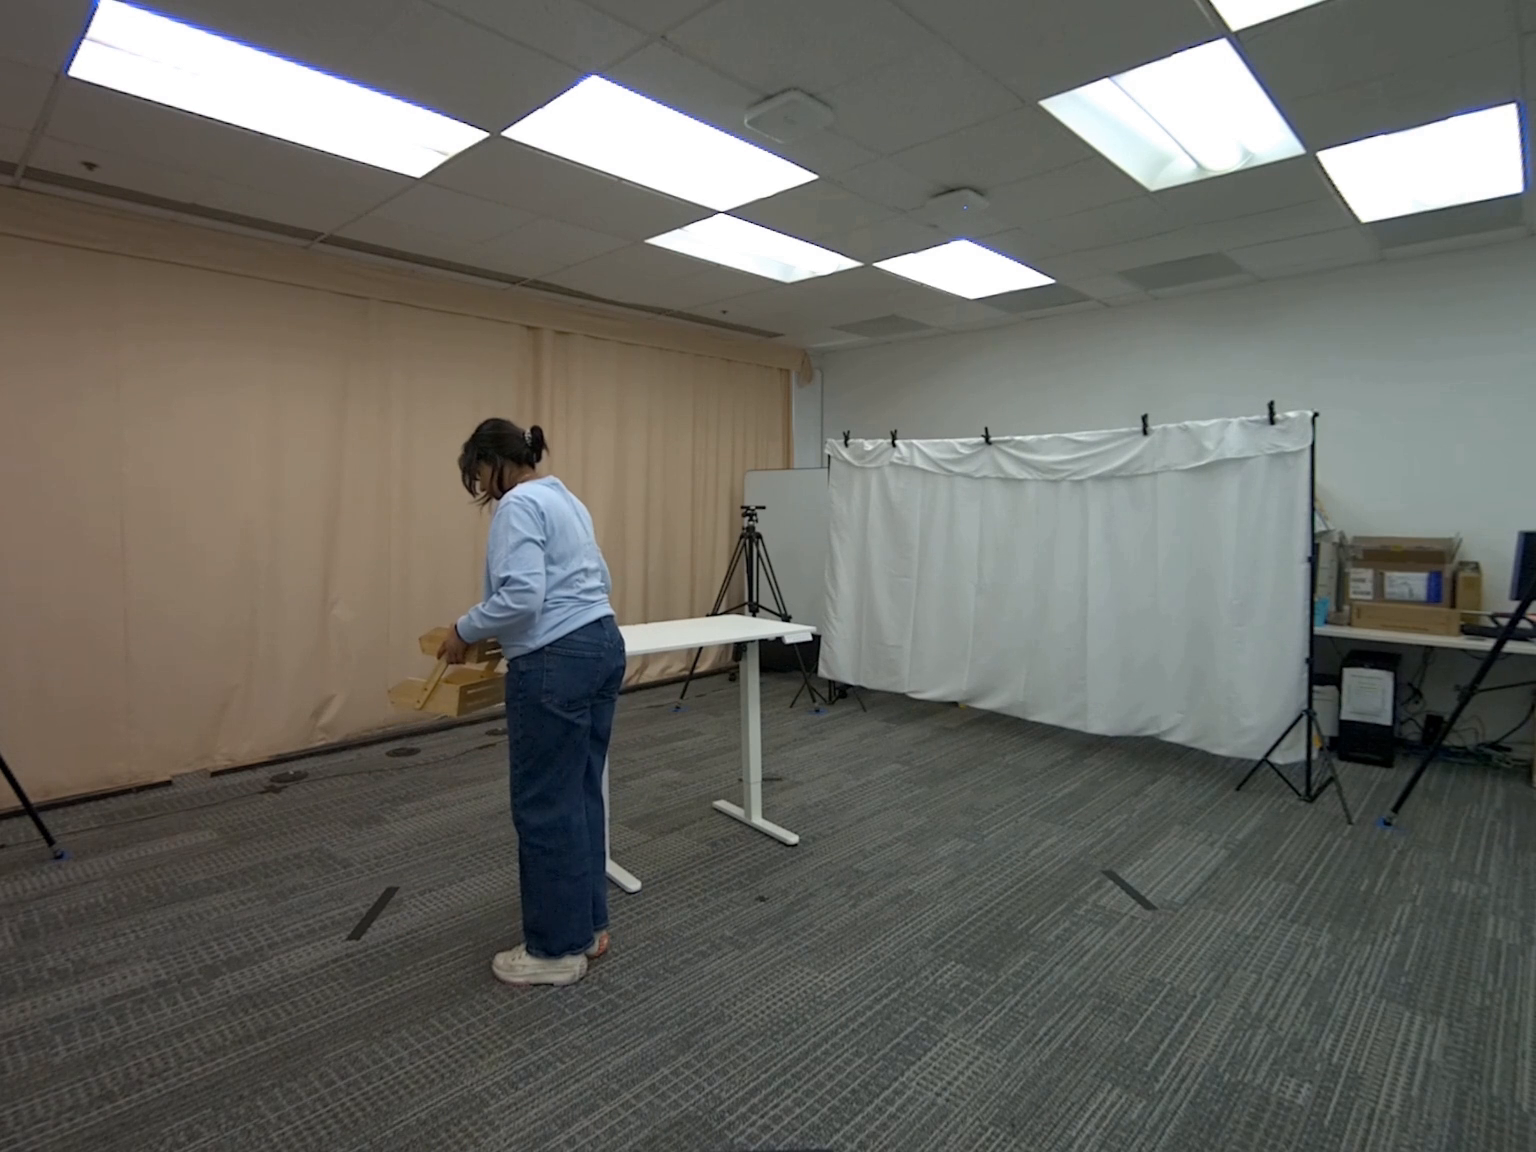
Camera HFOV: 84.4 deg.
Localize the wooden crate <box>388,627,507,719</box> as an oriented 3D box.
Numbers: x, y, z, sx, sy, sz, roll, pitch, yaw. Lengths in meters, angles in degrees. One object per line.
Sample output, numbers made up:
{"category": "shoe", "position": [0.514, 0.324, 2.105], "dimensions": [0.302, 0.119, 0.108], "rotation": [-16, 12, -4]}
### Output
{"category": "wooden crate", "position": [-0.973, 0.278, 2.668], "dimensions": [0.307, 0.273, 0.319], "rotation": [5, 1, 15]}
